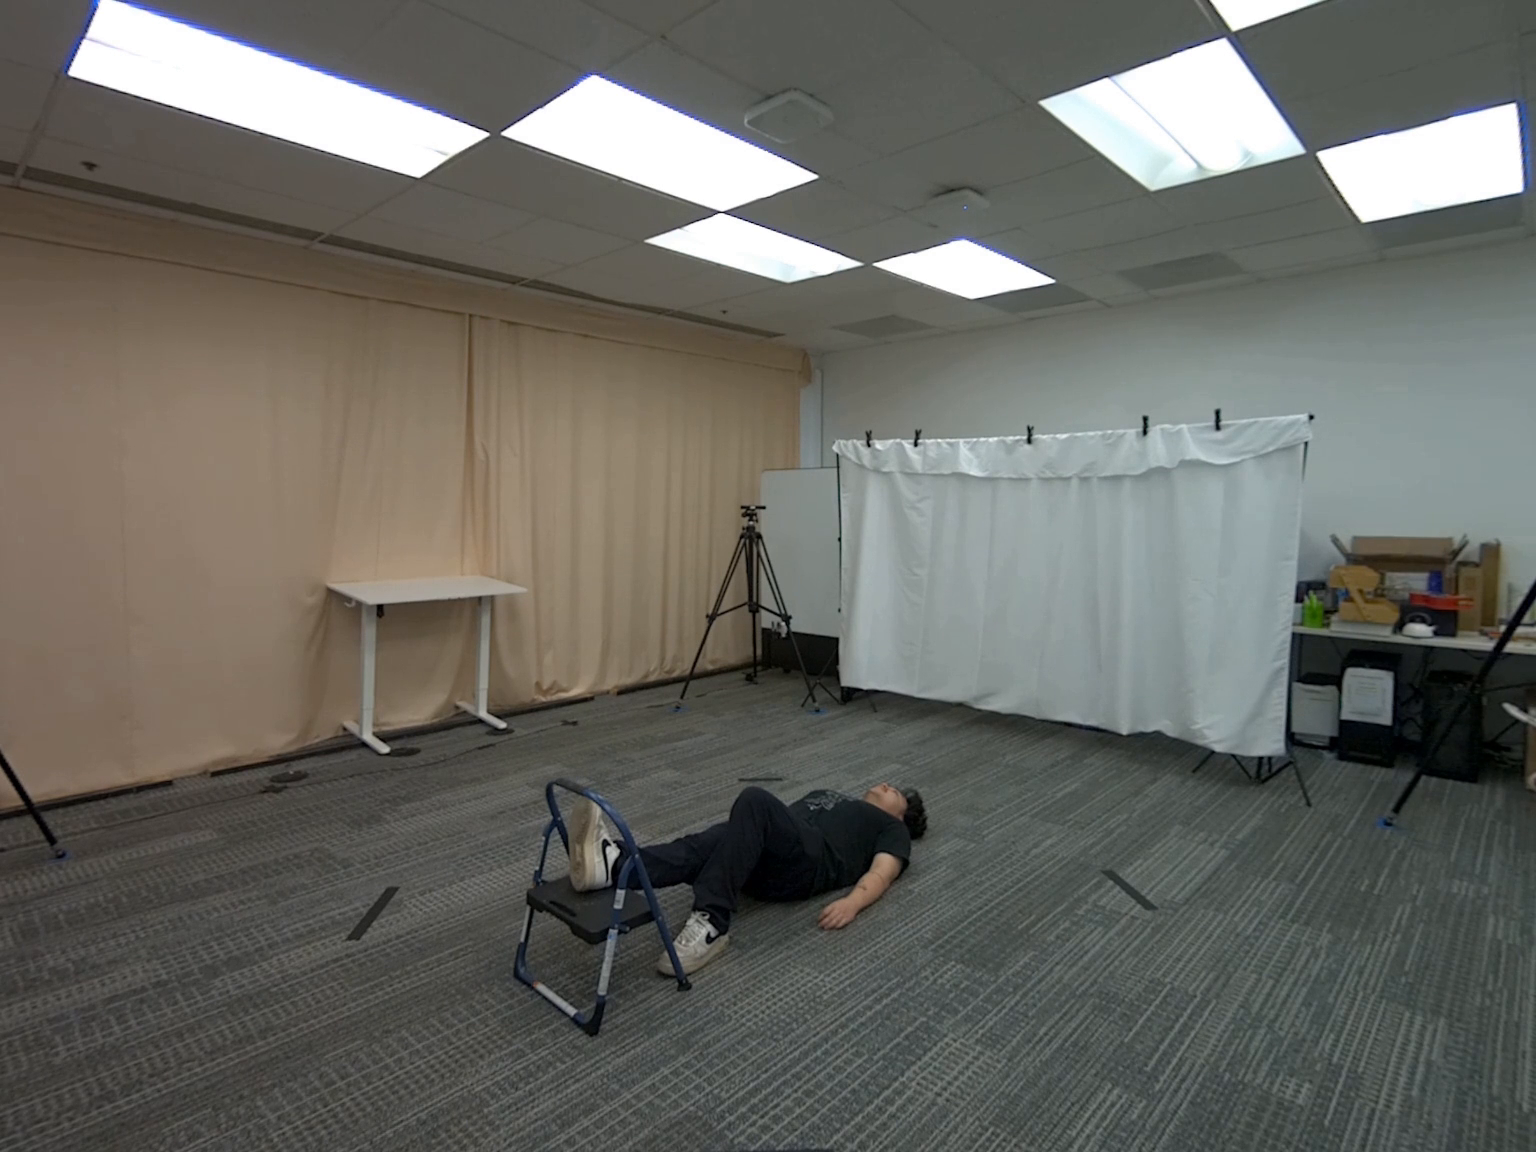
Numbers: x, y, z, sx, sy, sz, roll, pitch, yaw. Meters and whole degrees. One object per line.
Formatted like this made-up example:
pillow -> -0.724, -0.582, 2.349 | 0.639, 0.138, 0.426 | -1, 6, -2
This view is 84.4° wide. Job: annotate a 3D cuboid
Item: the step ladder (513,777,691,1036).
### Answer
step ladder -> -0.497, 0.894, 2.451 | 0.445, 0.605, 0.338 | 2, 4, 44
